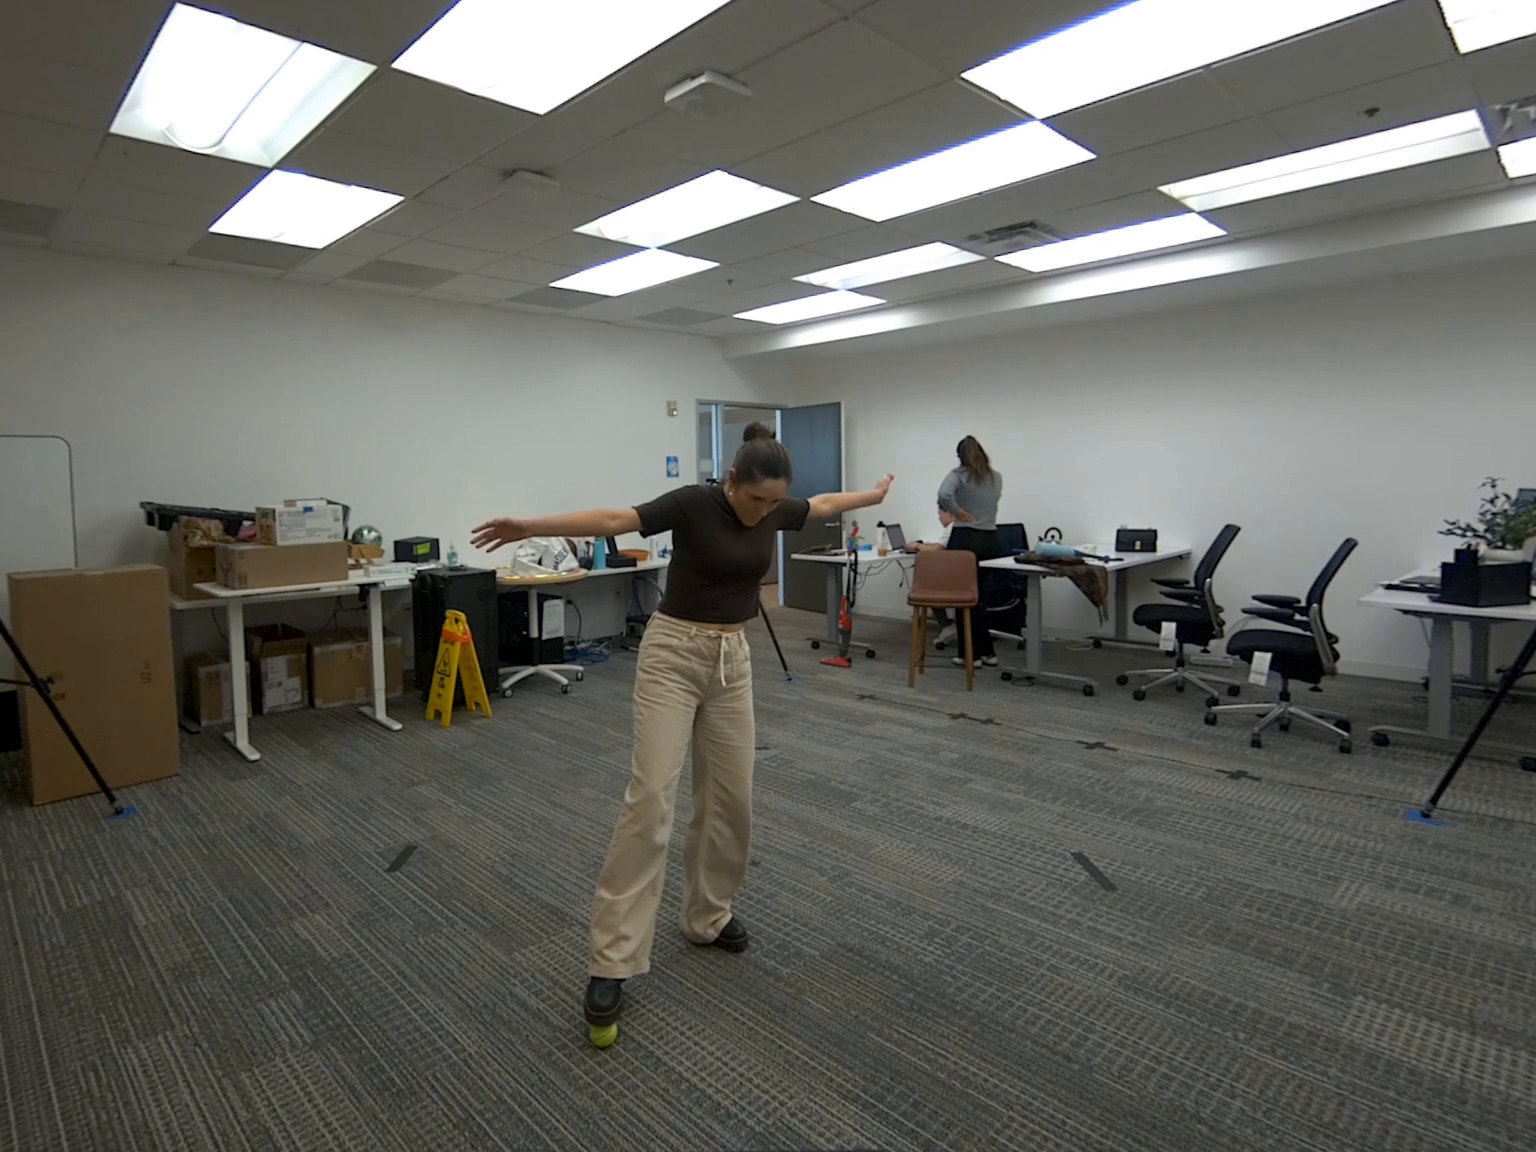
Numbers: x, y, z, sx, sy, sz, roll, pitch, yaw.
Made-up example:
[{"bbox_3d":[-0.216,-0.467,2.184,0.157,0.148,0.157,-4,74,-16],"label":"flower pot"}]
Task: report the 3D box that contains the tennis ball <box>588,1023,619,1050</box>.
[{"bbox_3d":[-0.409,1.131,2.127,0.066,0.066,0.067,-1,5,-2],"label":"tennis ball"}]
